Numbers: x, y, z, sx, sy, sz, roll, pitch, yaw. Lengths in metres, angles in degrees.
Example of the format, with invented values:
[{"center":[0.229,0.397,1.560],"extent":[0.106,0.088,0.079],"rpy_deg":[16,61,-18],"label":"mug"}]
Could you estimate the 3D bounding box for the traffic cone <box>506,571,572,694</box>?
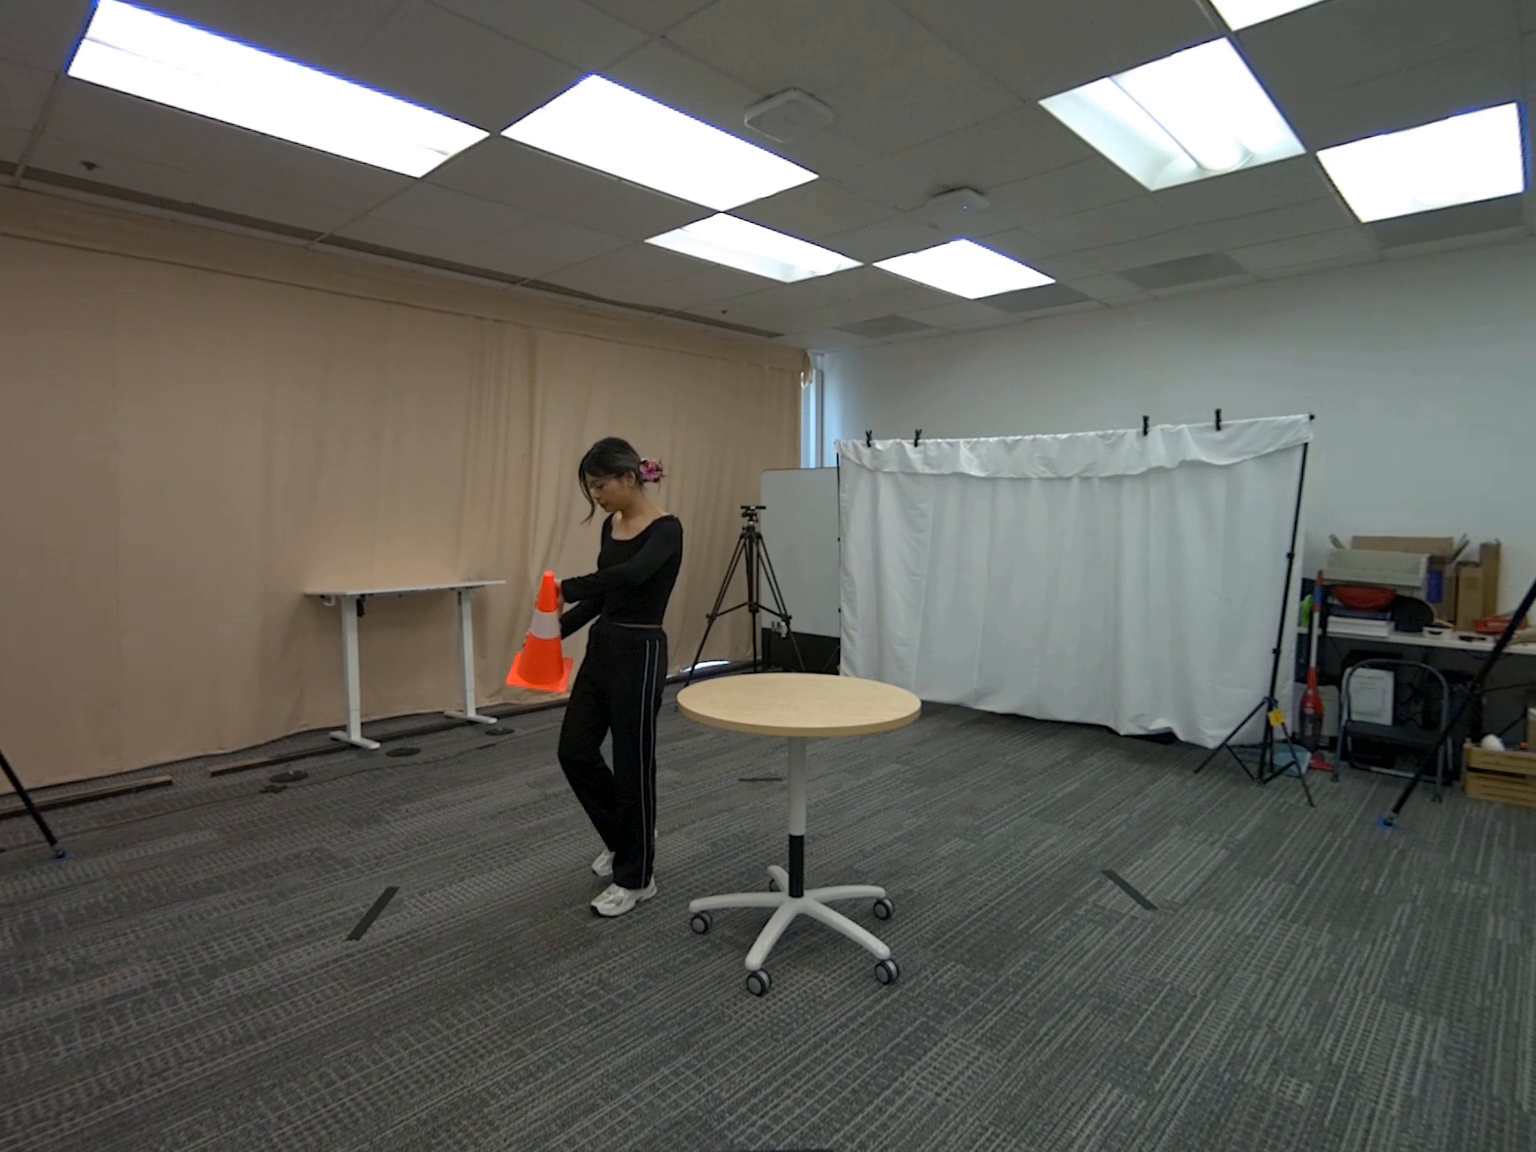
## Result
[{"center":[-0.720,0.164,2.750],"extent":[0.203,0.379,0.207],"rpy_deg":[5,27,-10],"label":"traffic cone"}]
